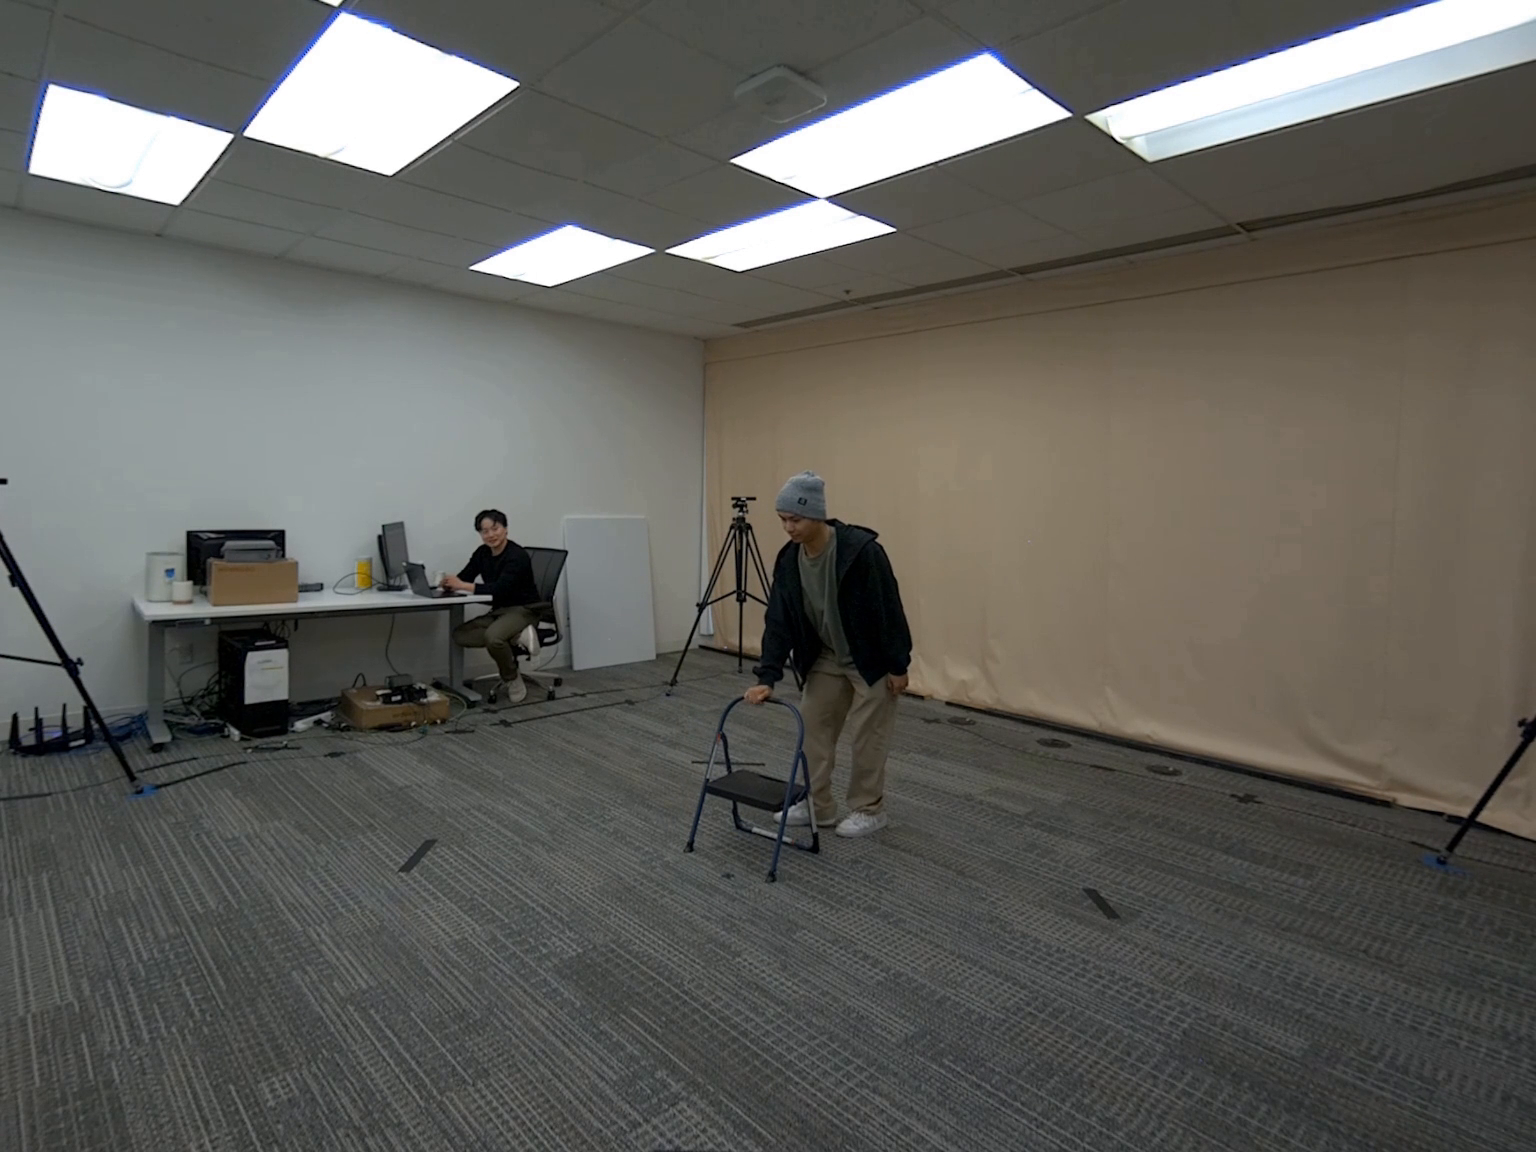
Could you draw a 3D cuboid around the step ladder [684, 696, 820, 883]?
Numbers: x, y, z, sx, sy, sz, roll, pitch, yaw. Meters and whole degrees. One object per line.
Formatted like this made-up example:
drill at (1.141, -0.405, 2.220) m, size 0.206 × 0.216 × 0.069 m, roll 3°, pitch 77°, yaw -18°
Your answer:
step ladder at (-0.057, 0.788, 3.305) m, size 0.441 × 0.604 × 0.342 m, roll 4°, pitch 4°, yaw 36°
